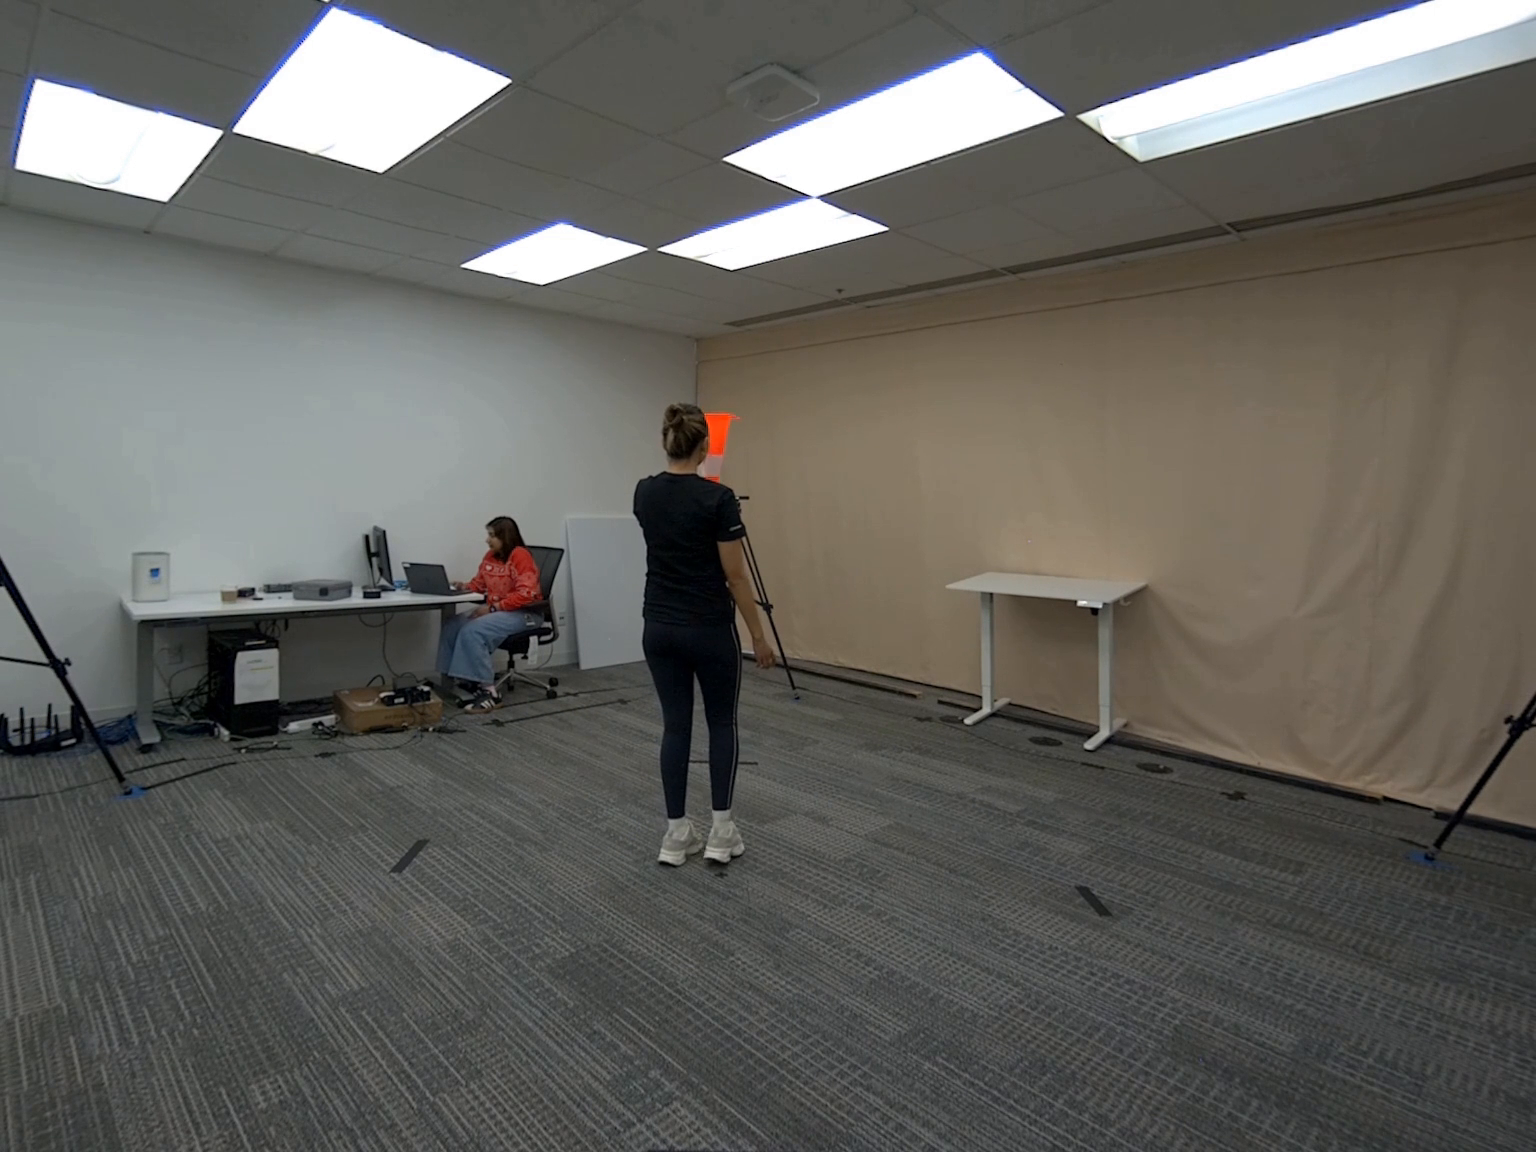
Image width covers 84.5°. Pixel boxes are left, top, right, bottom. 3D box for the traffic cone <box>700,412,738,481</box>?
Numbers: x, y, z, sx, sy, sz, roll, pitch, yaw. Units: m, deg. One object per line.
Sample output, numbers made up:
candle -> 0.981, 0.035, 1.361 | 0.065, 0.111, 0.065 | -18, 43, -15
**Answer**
traffic cone -> -0.250, -0.490, 3.566 | 0.207, 0.382, 0.202 | 5, 7, 19
